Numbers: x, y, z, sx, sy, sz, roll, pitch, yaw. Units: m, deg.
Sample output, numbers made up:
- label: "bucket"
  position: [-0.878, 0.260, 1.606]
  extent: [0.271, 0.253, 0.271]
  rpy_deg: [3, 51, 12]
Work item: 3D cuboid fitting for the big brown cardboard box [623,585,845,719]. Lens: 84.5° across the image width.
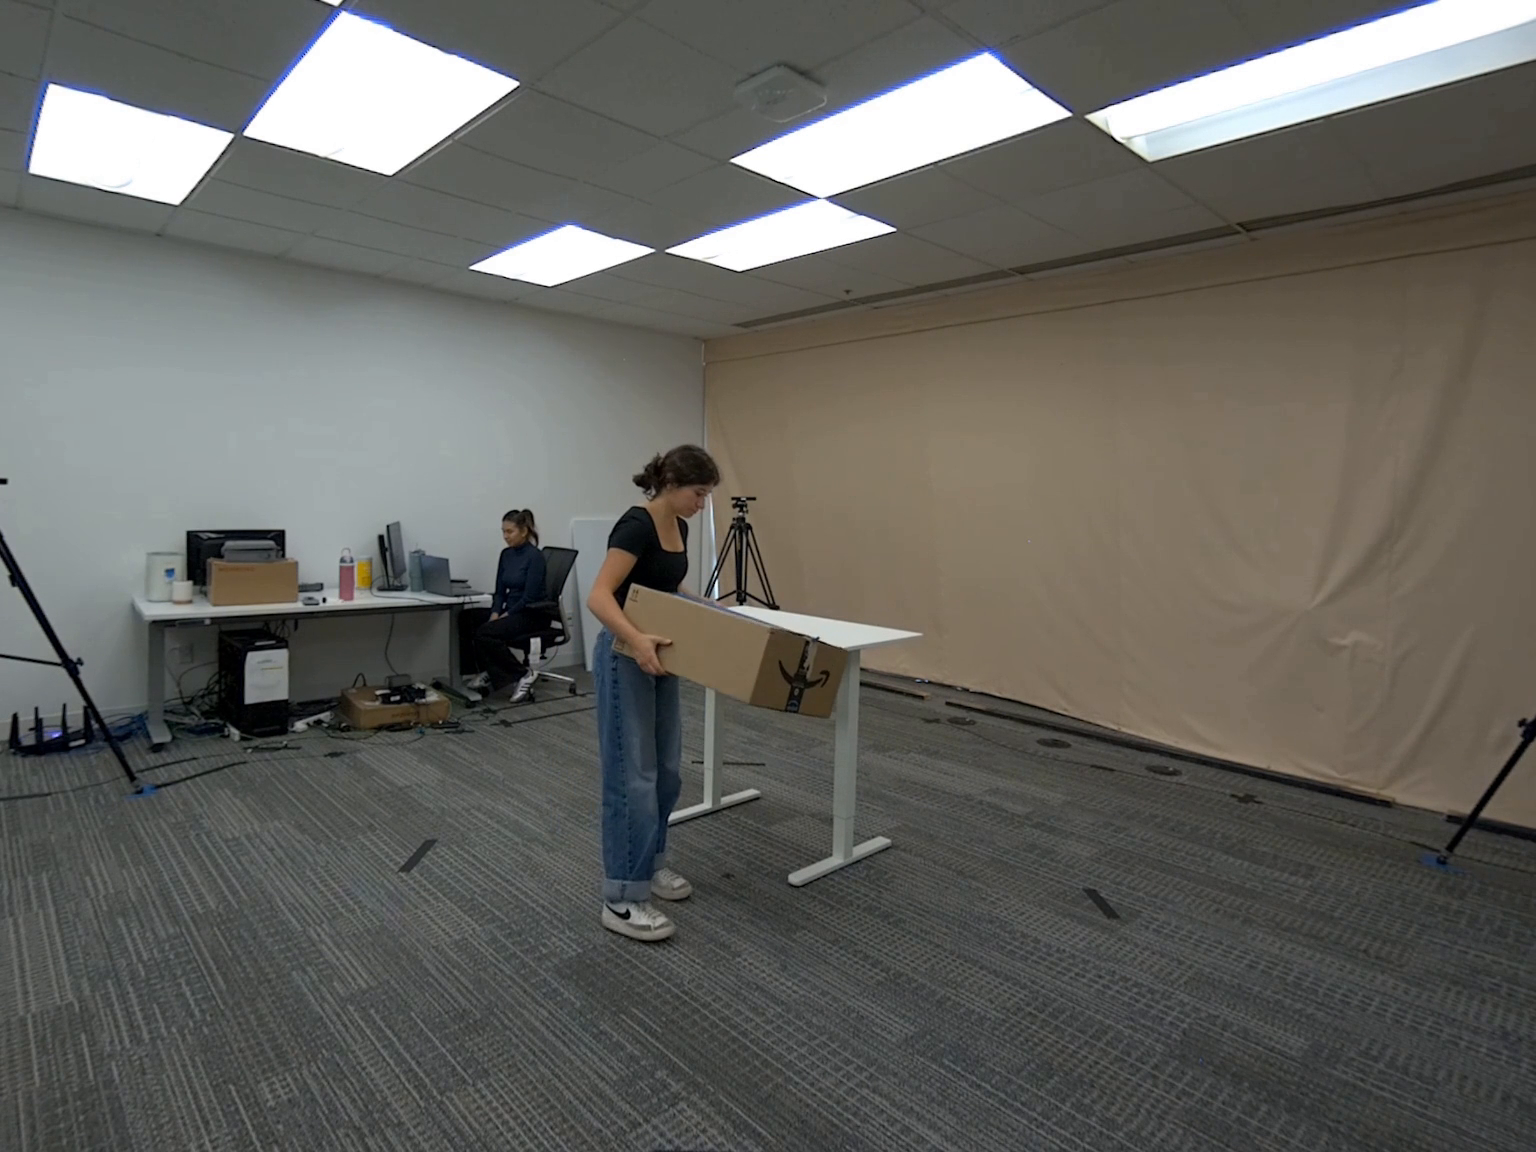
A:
- label: "big brown cardboard box"
  position: [-0.115, 0.231, 2.568]
  extent: [0.605, 0.233, 0.405]
  rpy_deg: [16, -3, 38]
